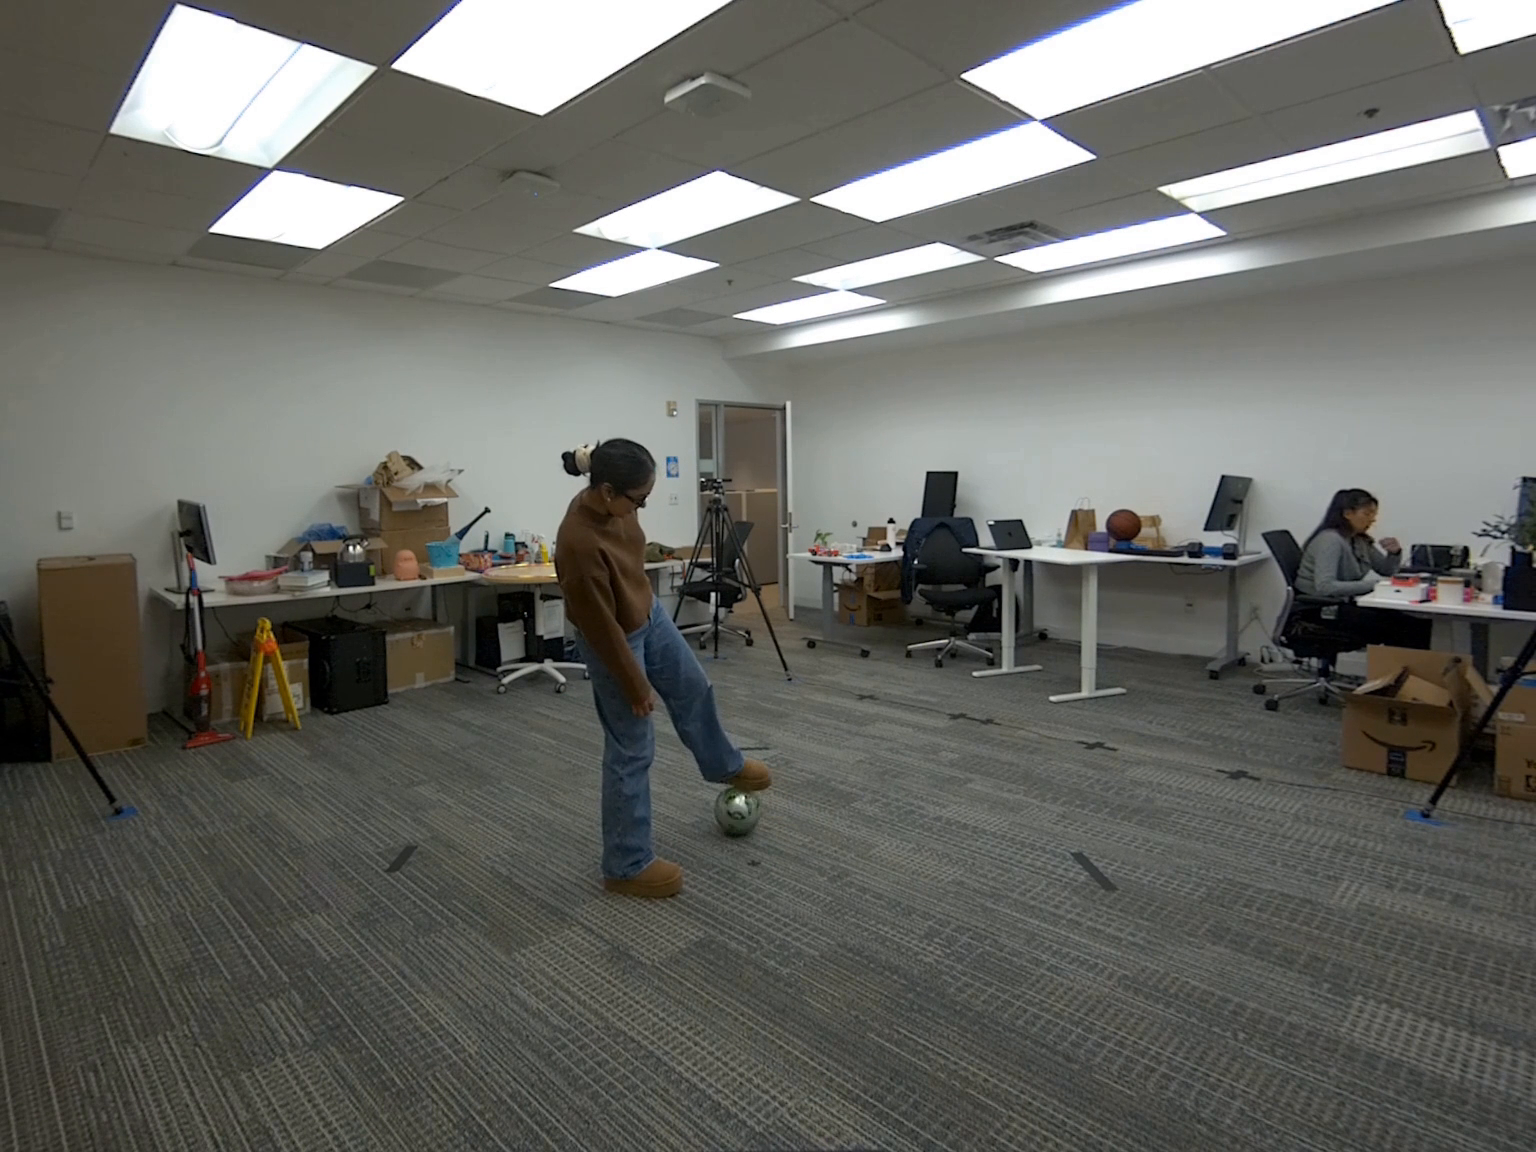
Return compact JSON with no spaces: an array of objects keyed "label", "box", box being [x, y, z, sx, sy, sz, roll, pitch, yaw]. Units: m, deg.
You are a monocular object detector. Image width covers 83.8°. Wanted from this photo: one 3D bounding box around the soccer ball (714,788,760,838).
[{"label":"soccer ball","box":[-0.122,0.925,3.368,0.187,0.187,0.188,-1,5,-2]}]
